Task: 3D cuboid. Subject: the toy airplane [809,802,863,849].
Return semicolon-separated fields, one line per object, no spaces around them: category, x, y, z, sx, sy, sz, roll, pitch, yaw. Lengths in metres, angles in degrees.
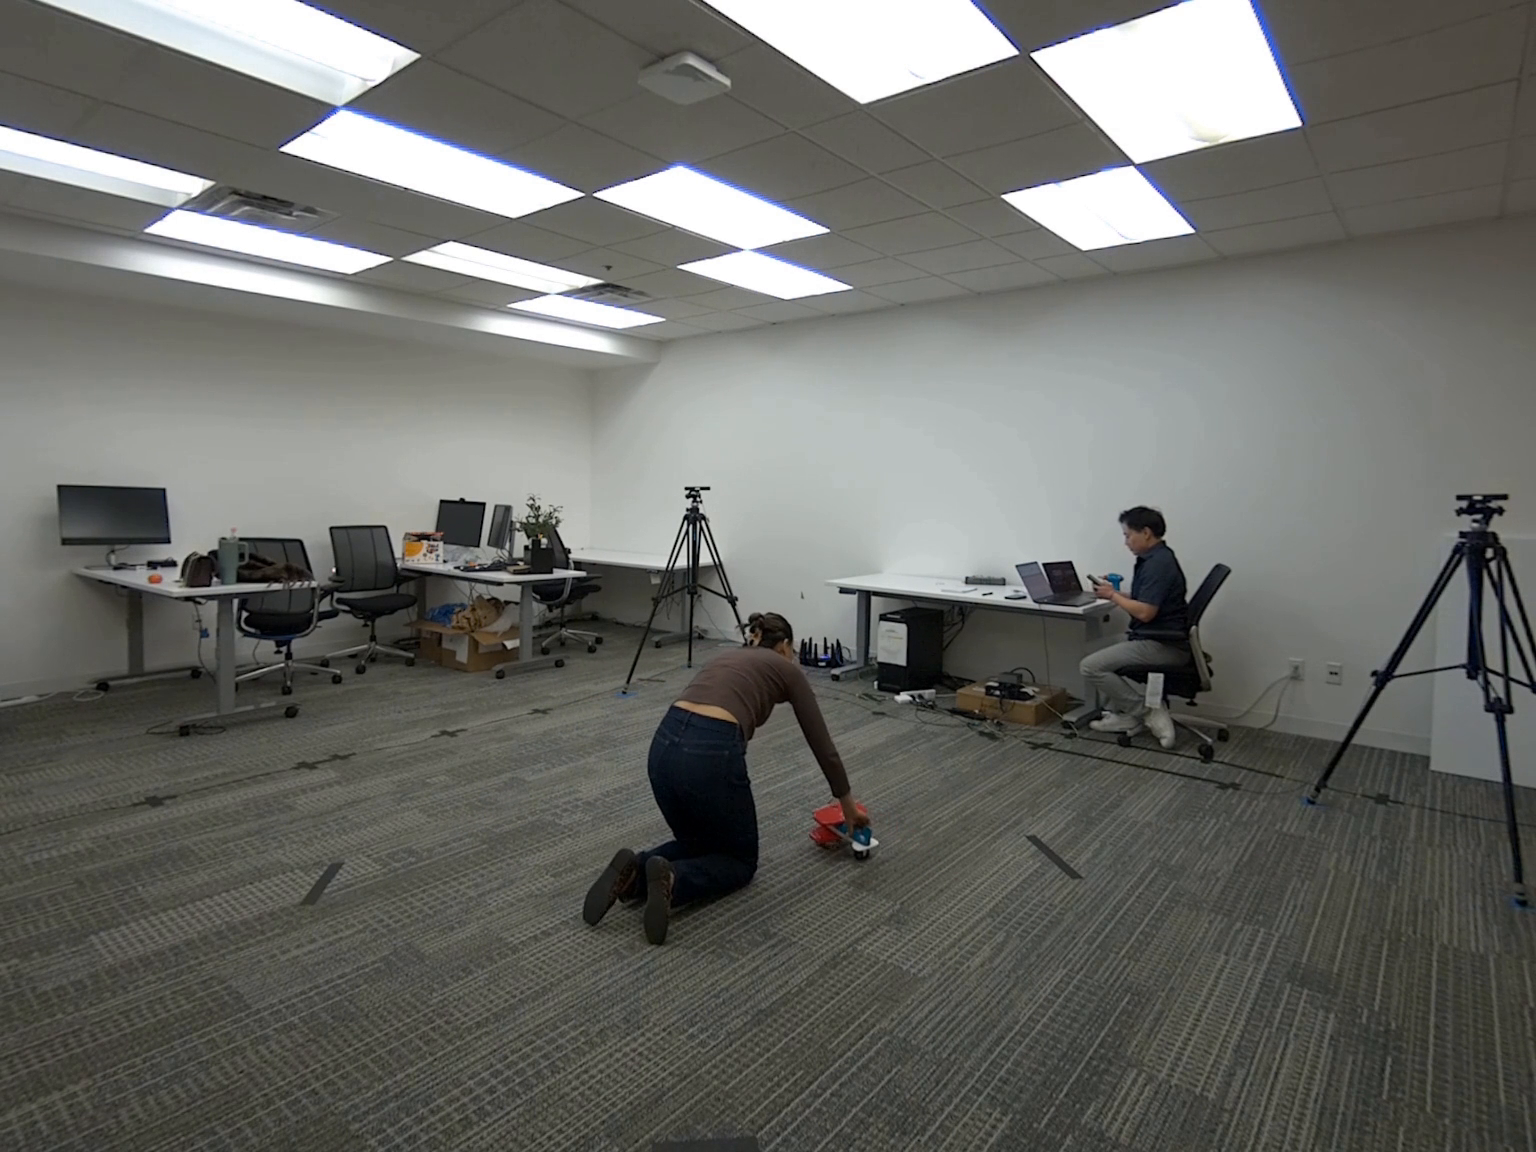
toy airplane;0.303;0.986;3.295;0.266;0.156;0.245;4;3;26
